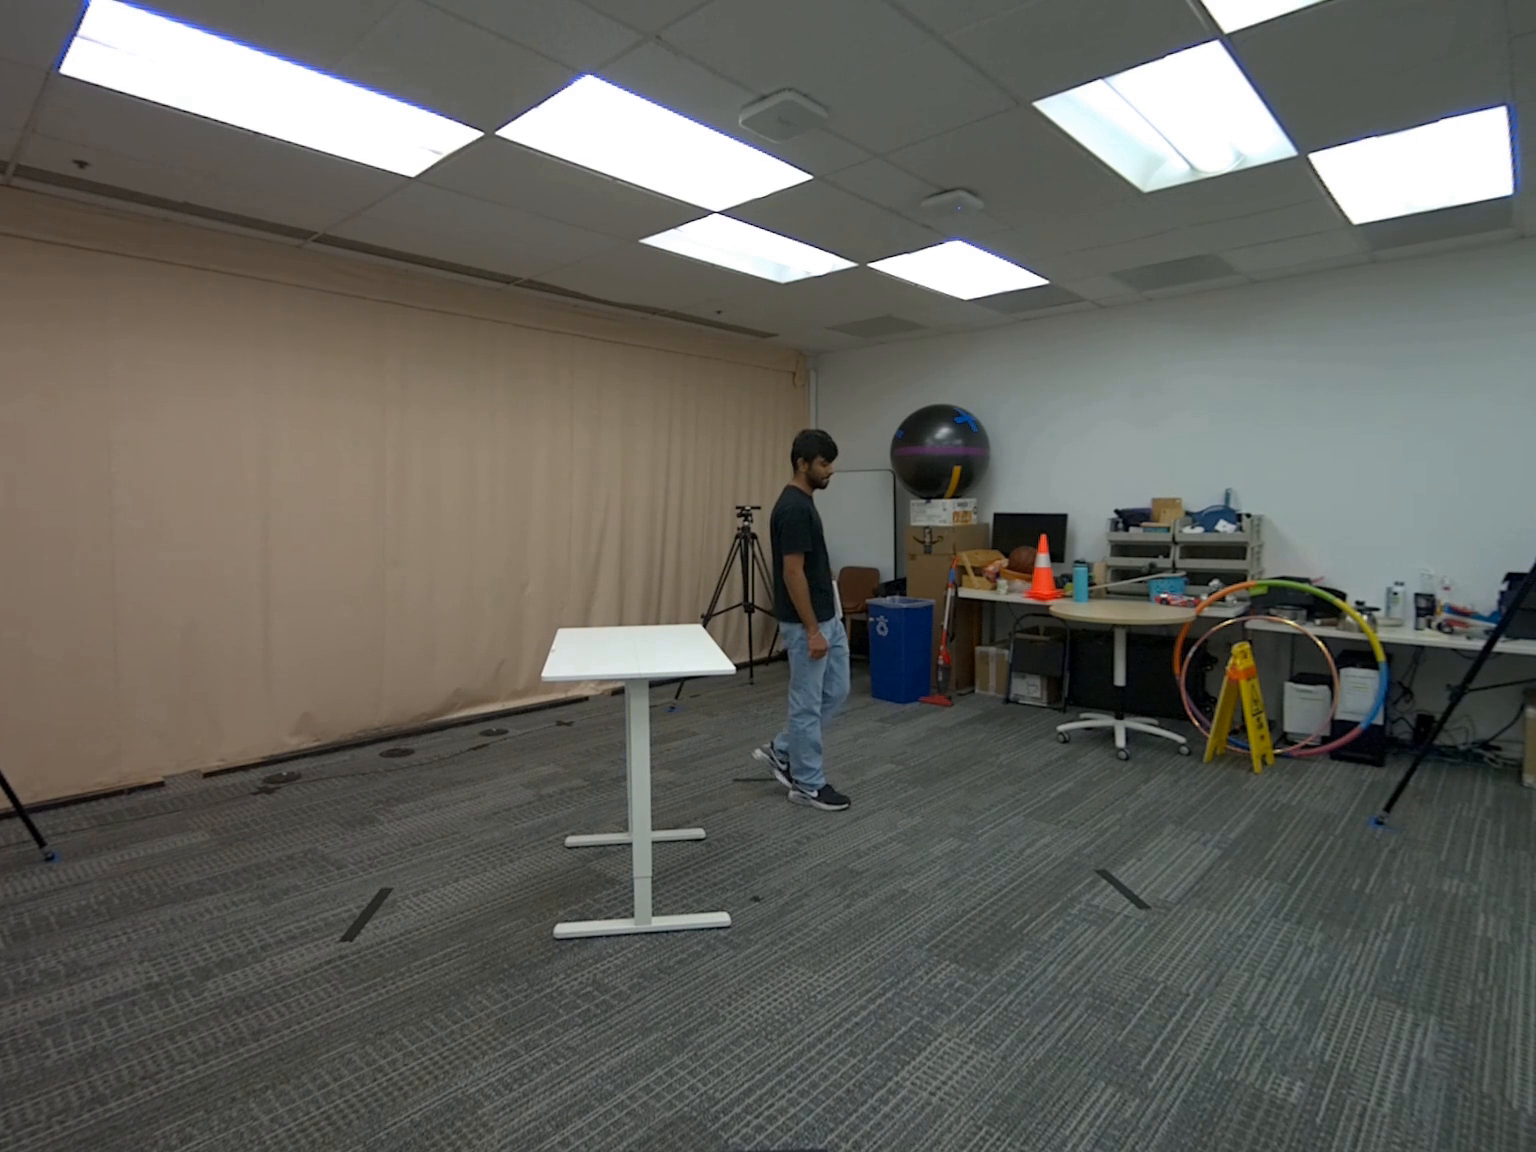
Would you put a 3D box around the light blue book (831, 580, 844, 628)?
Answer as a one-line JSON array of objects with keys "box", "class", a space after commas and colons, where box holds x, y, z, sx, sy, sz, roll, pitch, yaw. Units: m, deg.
[{"box": [0.210, 0.129, 4.094, 0.265, 0.189, 0.058, -6, 13, 17], "class": "light blue book"}]
